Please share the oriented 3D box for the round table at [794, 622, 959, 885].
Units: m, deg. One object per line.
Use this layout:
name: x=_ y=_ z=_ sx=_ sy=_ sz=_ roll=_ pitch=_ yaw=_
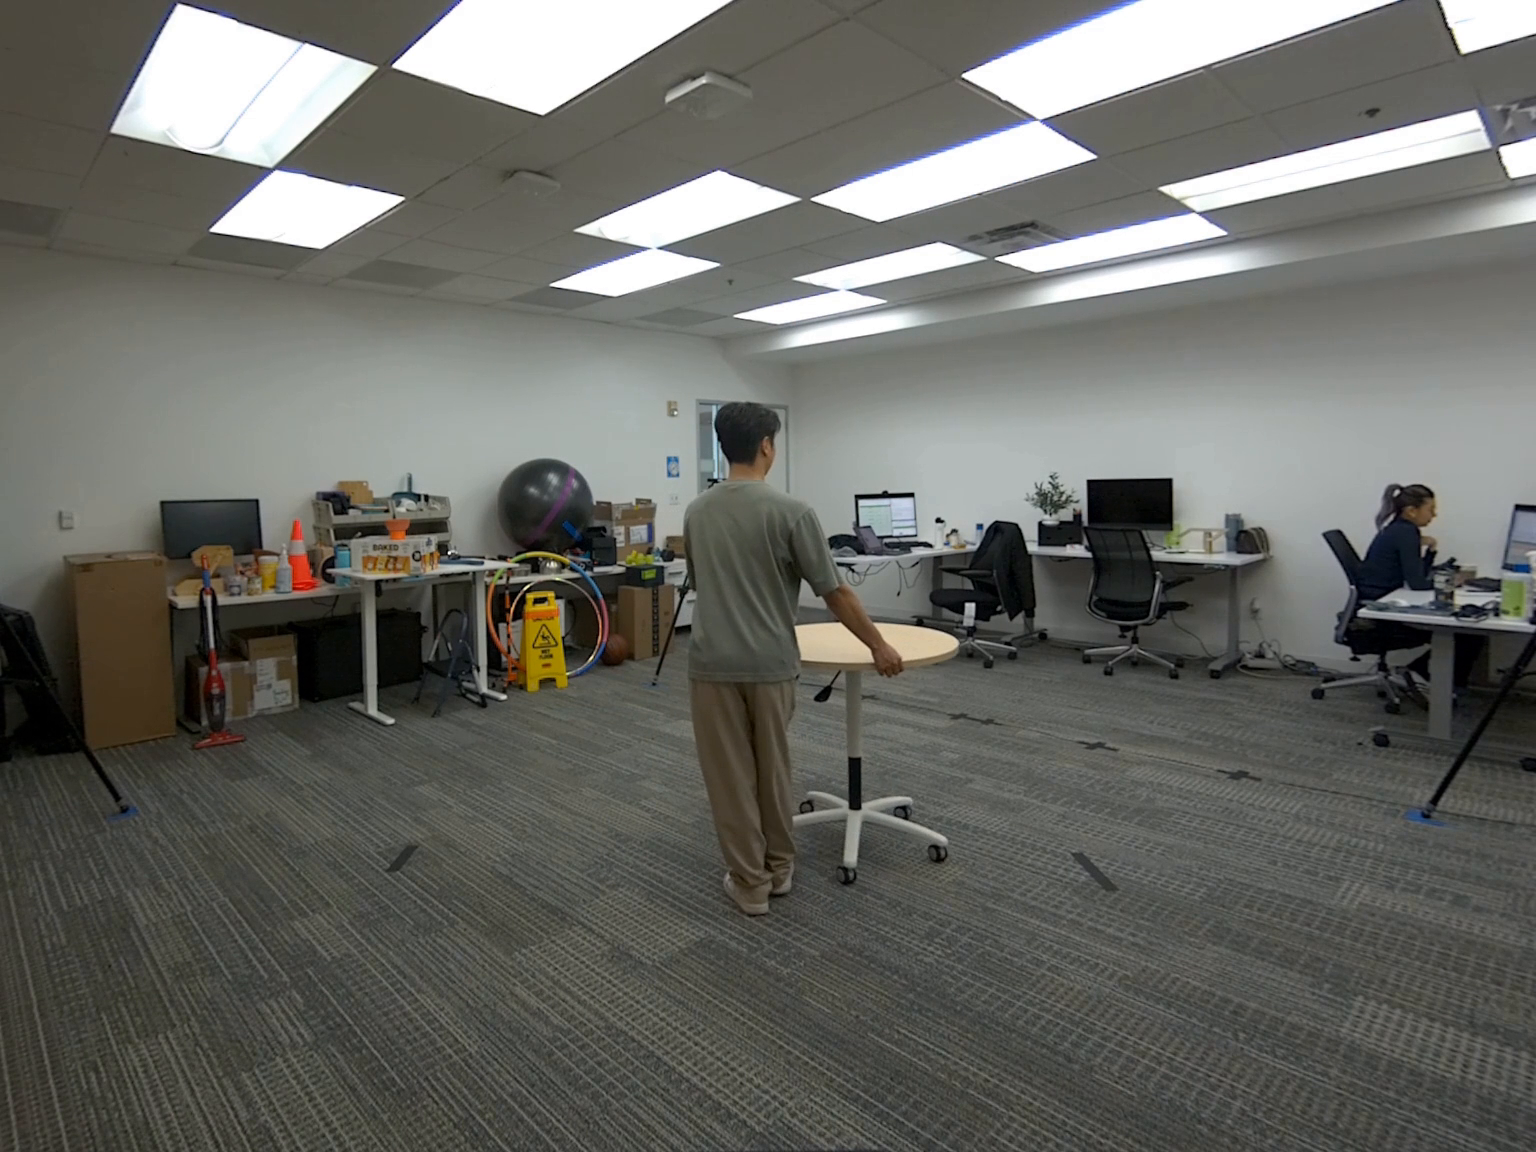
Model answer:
round table: x=0.340 y=0.628 z=3.238 sx=0.784 sy=0.783 sz=0.789 roll=-1 pitch=5 yaw=-2
